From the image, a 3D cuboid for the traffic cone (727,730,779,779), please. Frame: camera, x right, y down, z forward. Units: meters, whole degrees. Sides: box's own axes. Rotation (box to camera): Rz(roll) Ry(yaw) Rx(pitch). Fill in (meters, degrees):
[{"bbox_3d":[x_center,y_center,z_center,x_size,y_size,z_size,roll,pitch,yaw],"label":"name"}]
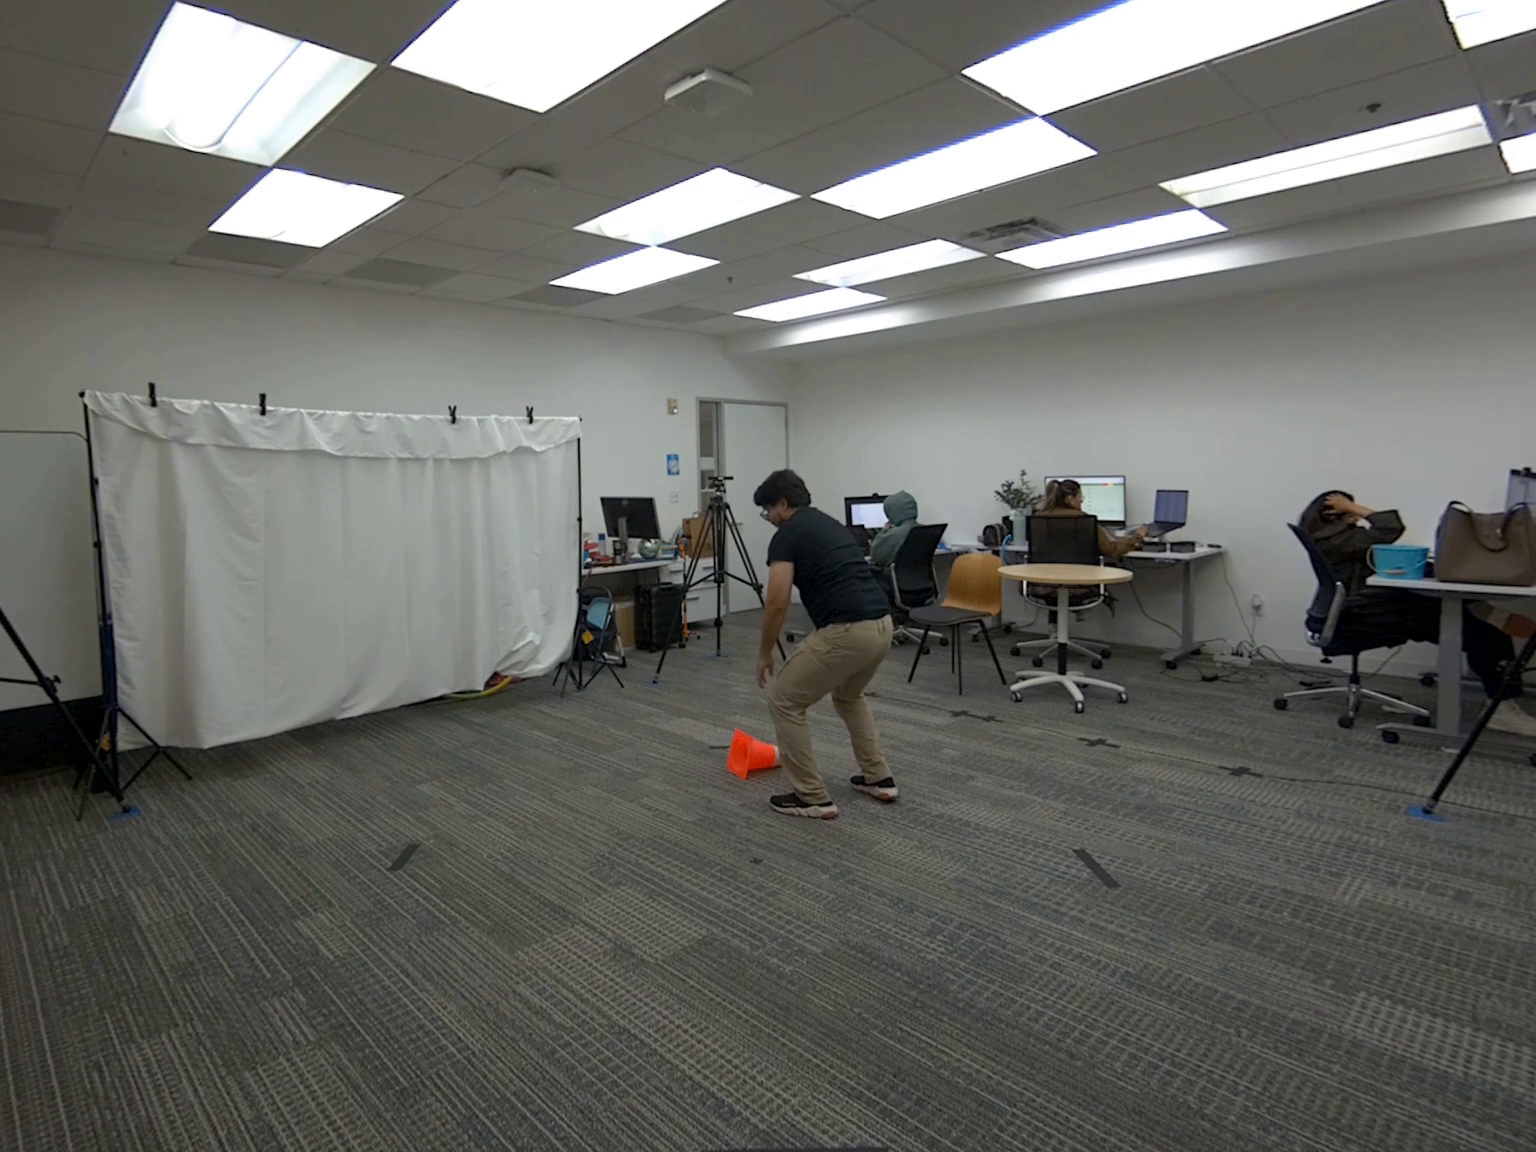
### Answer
[{"bbox_3d":[0.028,0.874,4.128,0.374,0.204,0.210,12,-2,-26],"label":"traffic cone"}]
